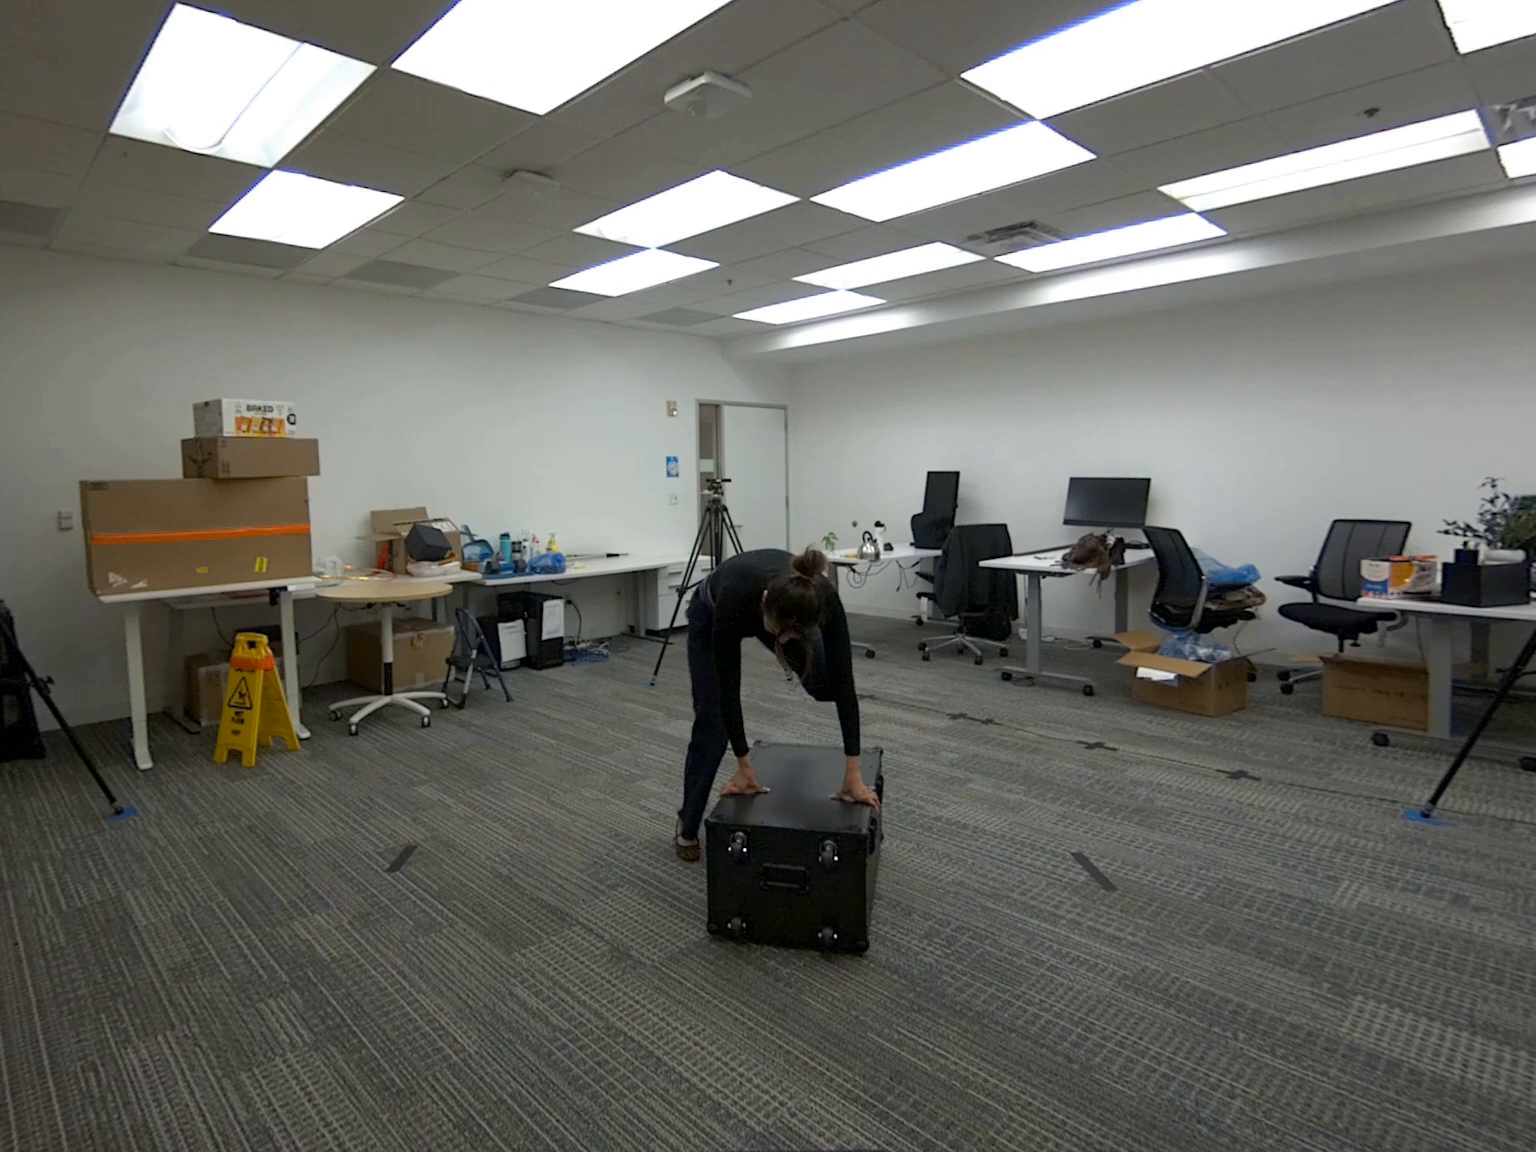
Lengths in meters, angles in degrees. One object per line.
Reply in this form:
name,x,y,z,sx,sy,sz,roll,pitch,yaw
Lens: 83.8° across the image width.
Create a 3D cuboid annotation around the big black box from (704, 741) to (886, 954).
big black box,0.114,0.875,2.862,0.528,0.395,0.854,0,6,12
